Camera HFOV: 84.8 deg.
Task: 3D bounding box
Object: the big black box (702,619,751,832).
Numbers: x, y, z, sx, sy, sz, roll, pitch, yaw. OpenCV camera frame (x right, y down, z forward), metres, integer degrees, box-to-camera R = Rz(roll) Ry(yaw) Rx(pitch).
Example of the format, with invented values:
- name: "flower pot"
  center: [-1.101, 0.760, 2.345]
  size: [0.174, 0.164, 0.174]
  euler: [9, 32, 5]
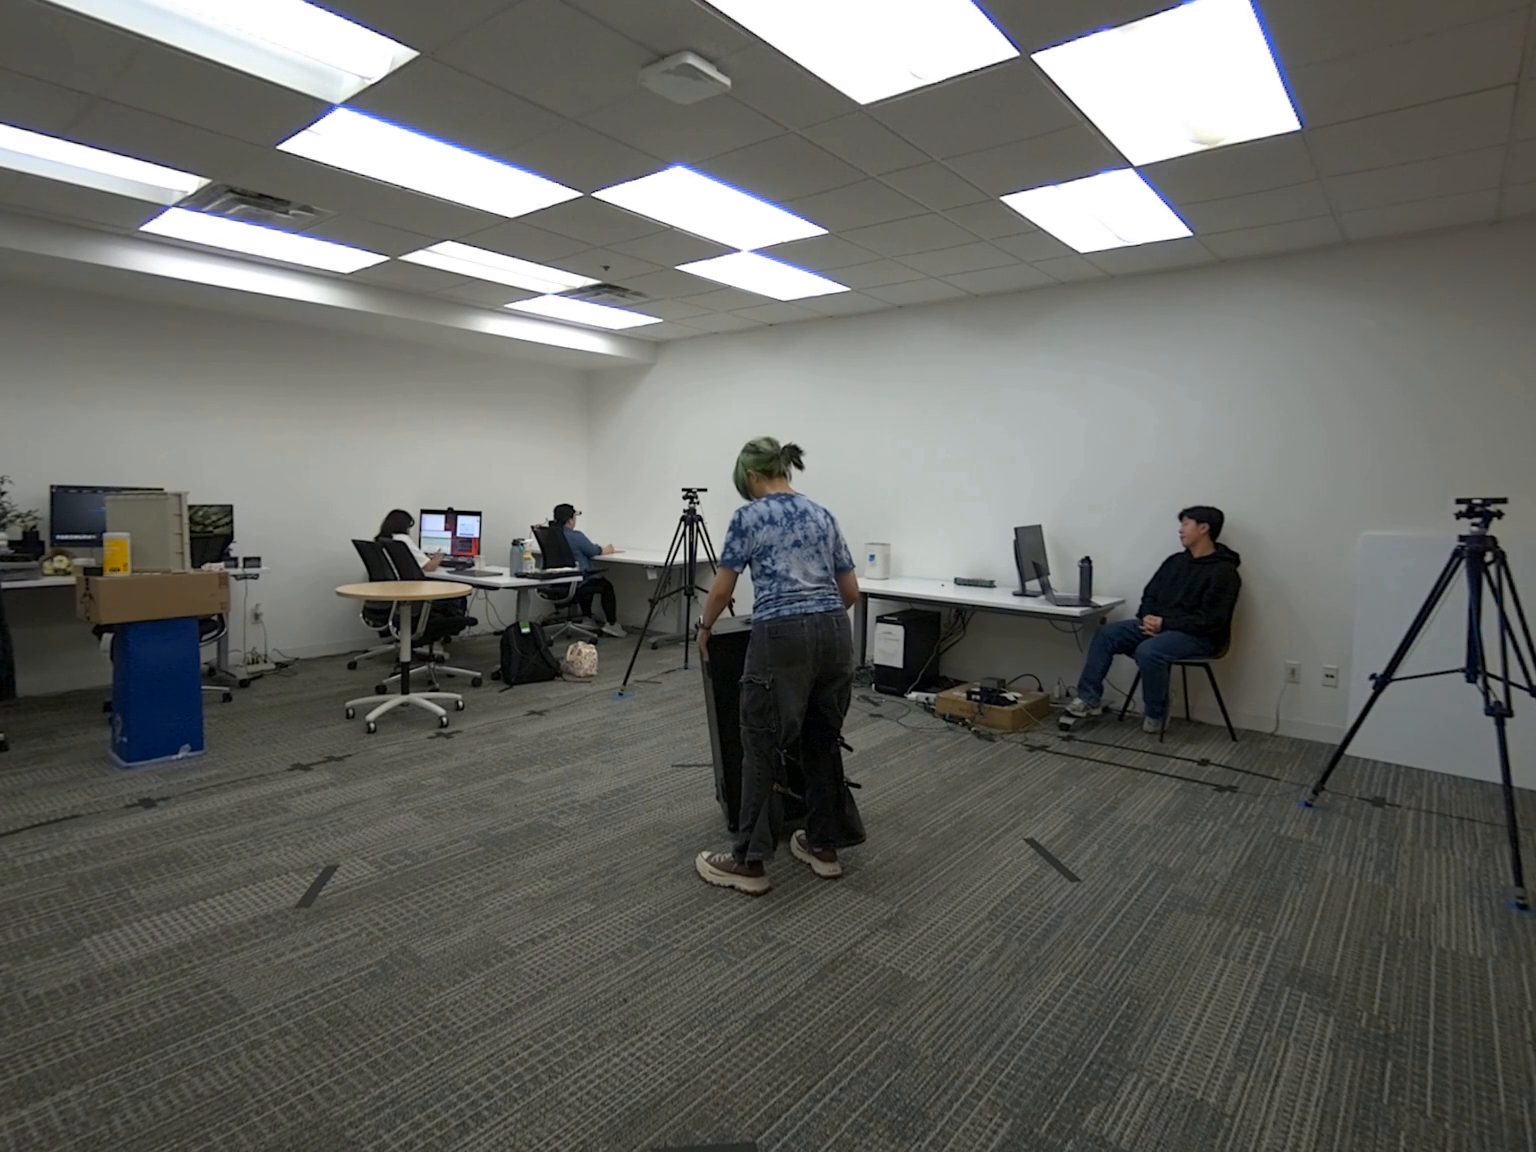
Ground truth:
- name: "big black box"
  center: [-0.011, 0.595, 3.516]
  size: [0.517, 0.859, 0.401]
  euler: [-7, 3, -8]
